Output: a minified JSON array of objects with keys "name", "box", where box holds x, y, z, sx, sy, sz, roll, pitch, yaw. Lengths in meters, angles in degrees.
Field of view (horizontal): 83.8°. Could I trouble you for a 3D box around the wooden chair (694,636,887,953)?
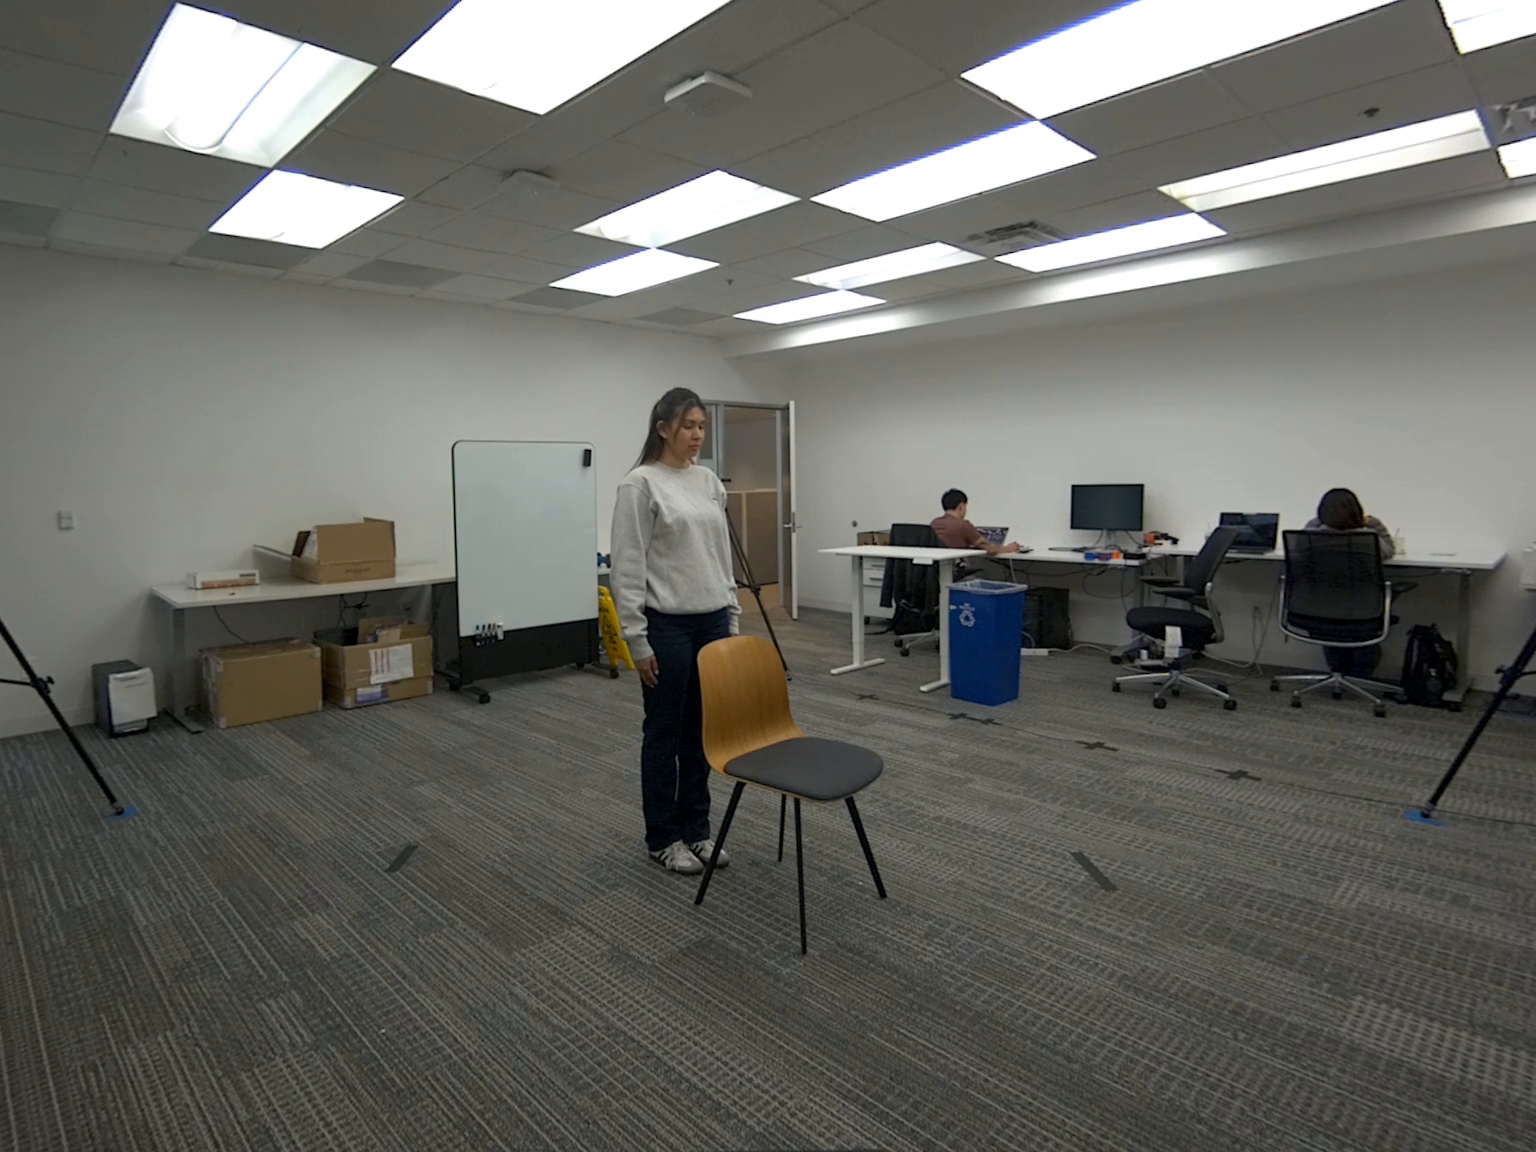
[{"name":"wooden chair","box":[0.080,0.652,2.783,0.537,0.877,0.465,-3,1,41]}]
